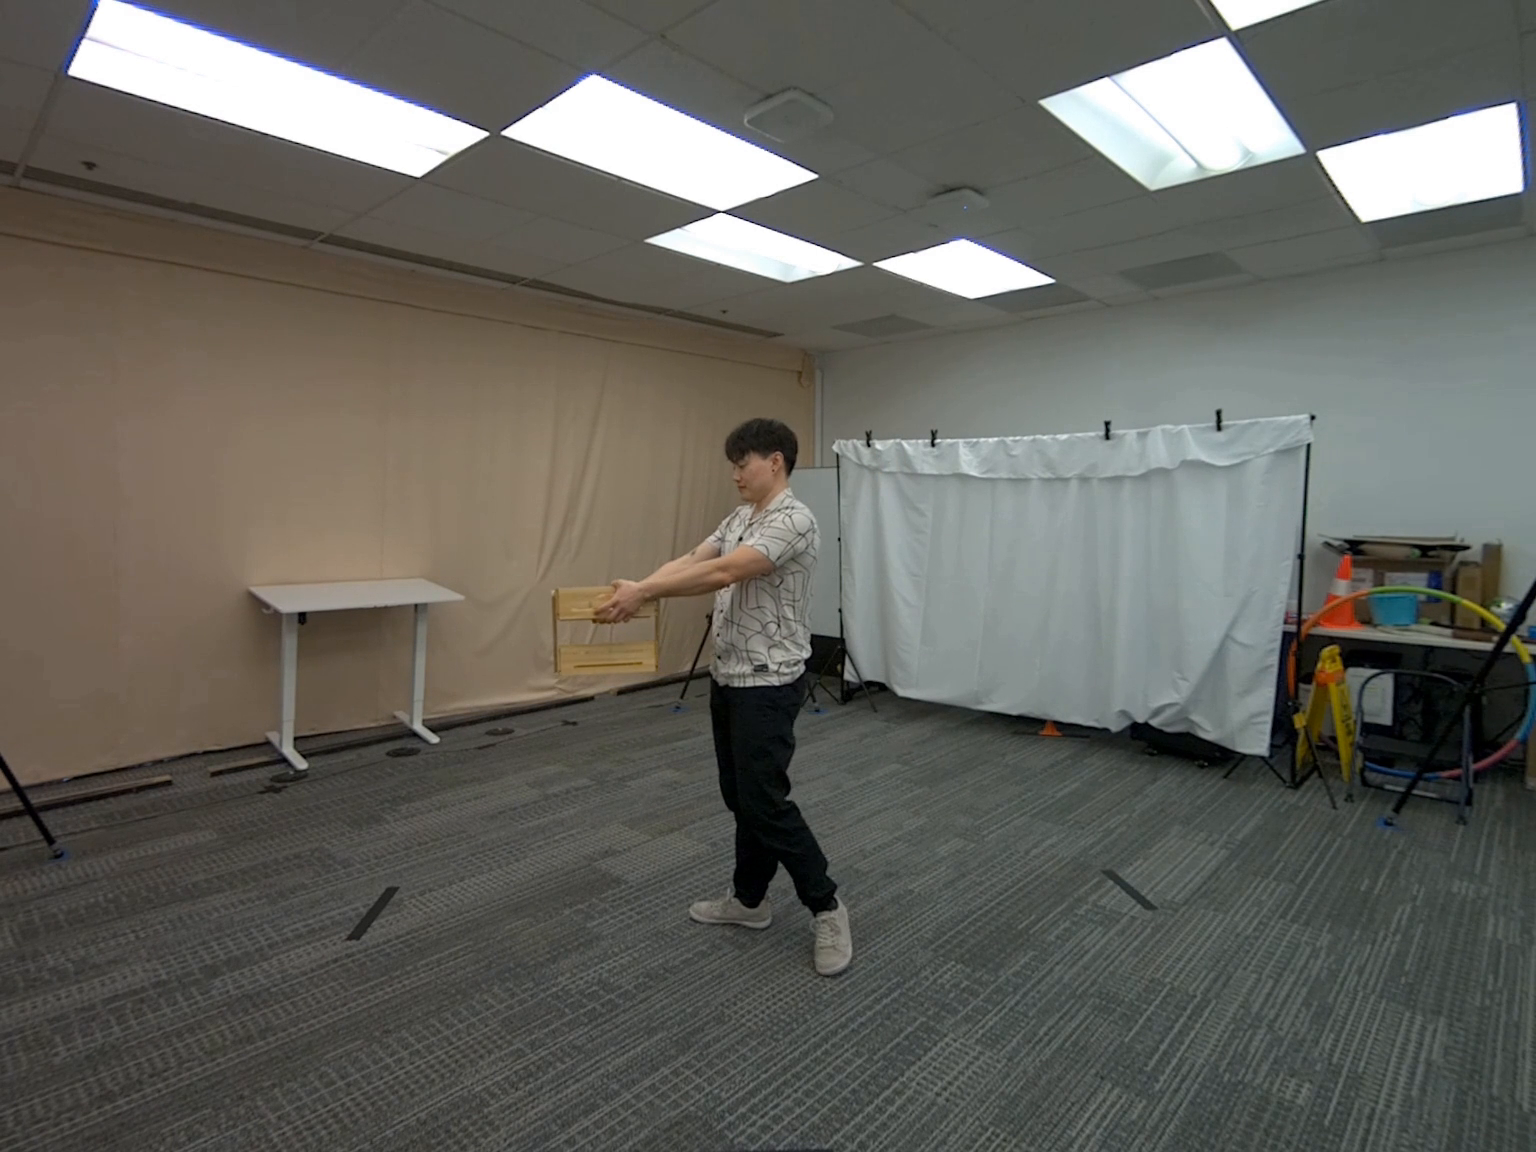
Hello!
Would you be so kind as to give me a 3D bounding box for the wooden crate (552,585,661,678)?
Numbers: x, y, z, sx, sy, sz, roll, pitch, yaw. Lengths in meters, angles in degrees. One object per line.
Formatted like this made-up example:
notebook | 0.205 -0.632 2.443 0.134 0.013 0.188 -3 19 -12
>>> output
wooden crate | -0.499 0.170 2.627 0.321 0.274 0.304 -2 -5 -11
